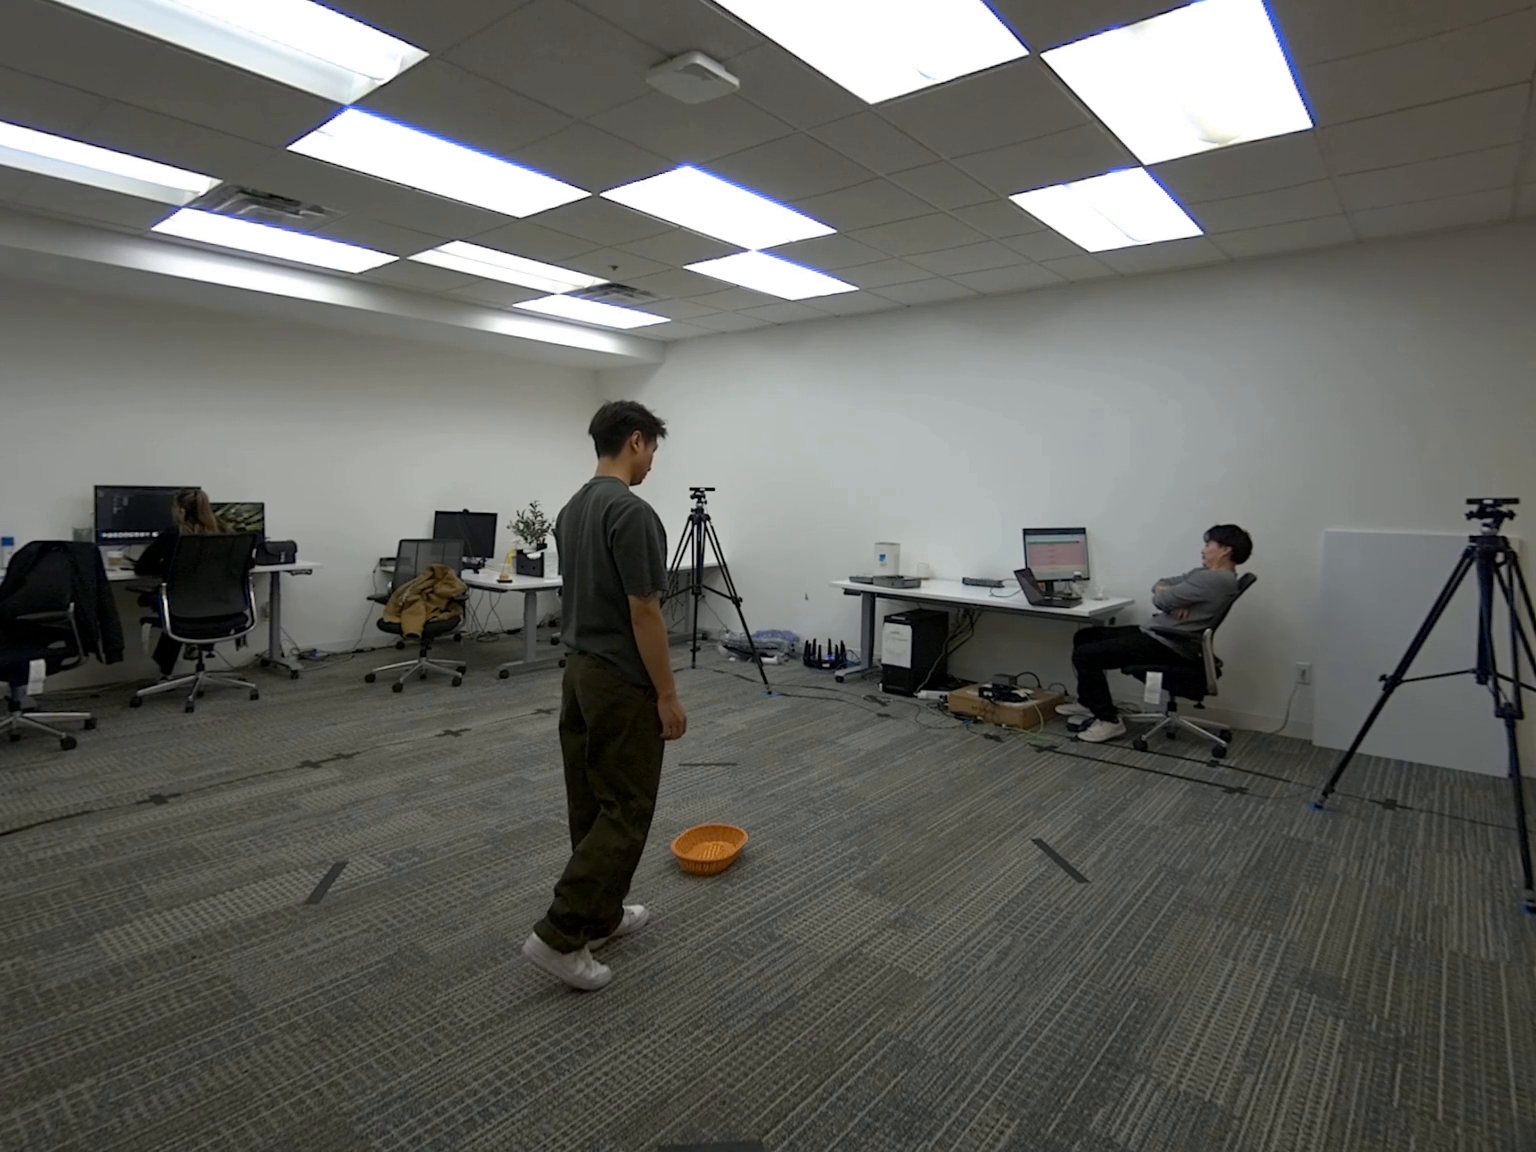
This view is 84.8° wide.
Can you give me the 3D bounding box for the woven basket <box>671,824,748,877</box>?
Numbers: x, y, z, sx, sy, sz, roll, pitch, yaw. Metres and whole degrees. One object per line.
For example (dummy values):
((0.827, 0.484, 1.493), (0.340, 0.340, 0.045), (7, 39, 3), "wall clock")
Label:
((-0.230, 1.018, 3.188), (0.259, 0.073, 0.343), (3, 6, 25), "woven basket")
